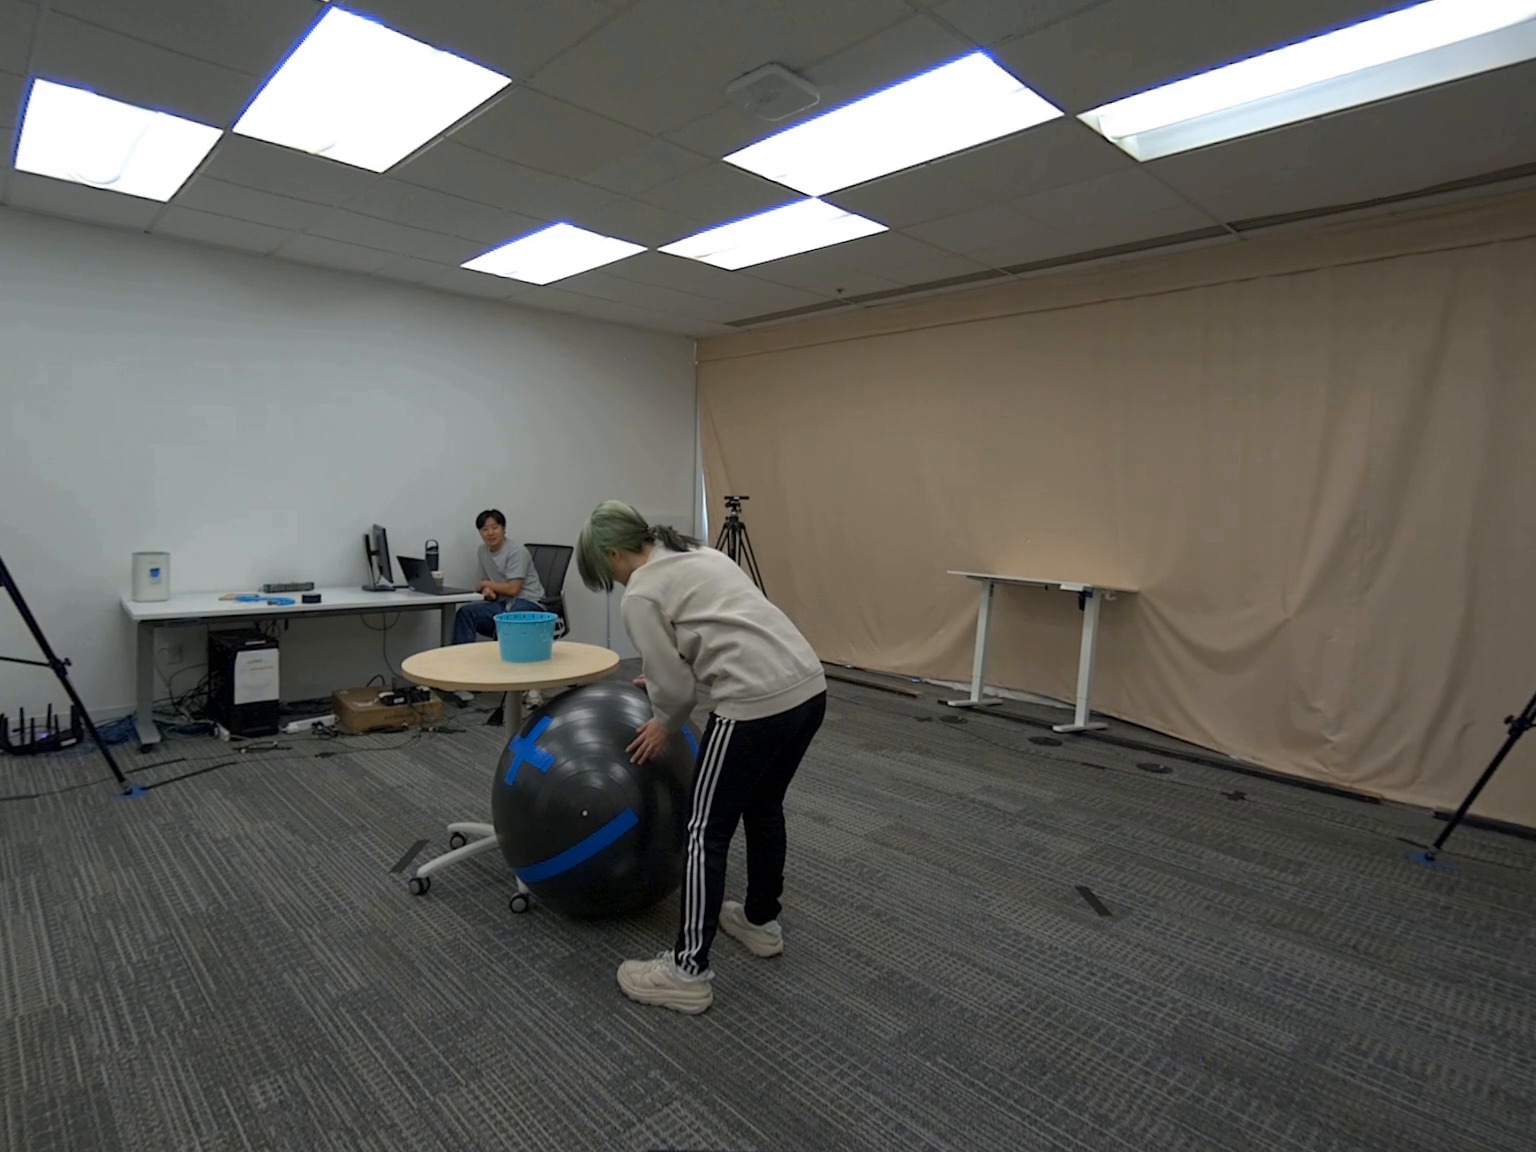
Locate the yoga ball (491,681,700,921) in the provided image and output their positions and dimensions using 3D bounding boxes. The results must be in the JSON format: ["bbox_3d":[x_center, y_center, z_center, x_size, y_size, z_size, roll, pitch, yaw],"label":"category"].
[{"bbox_3d":[-0.542,0.747,2.851,0.757,0.756,0.761,1,4,-1],"label":"yoga ball"}]
